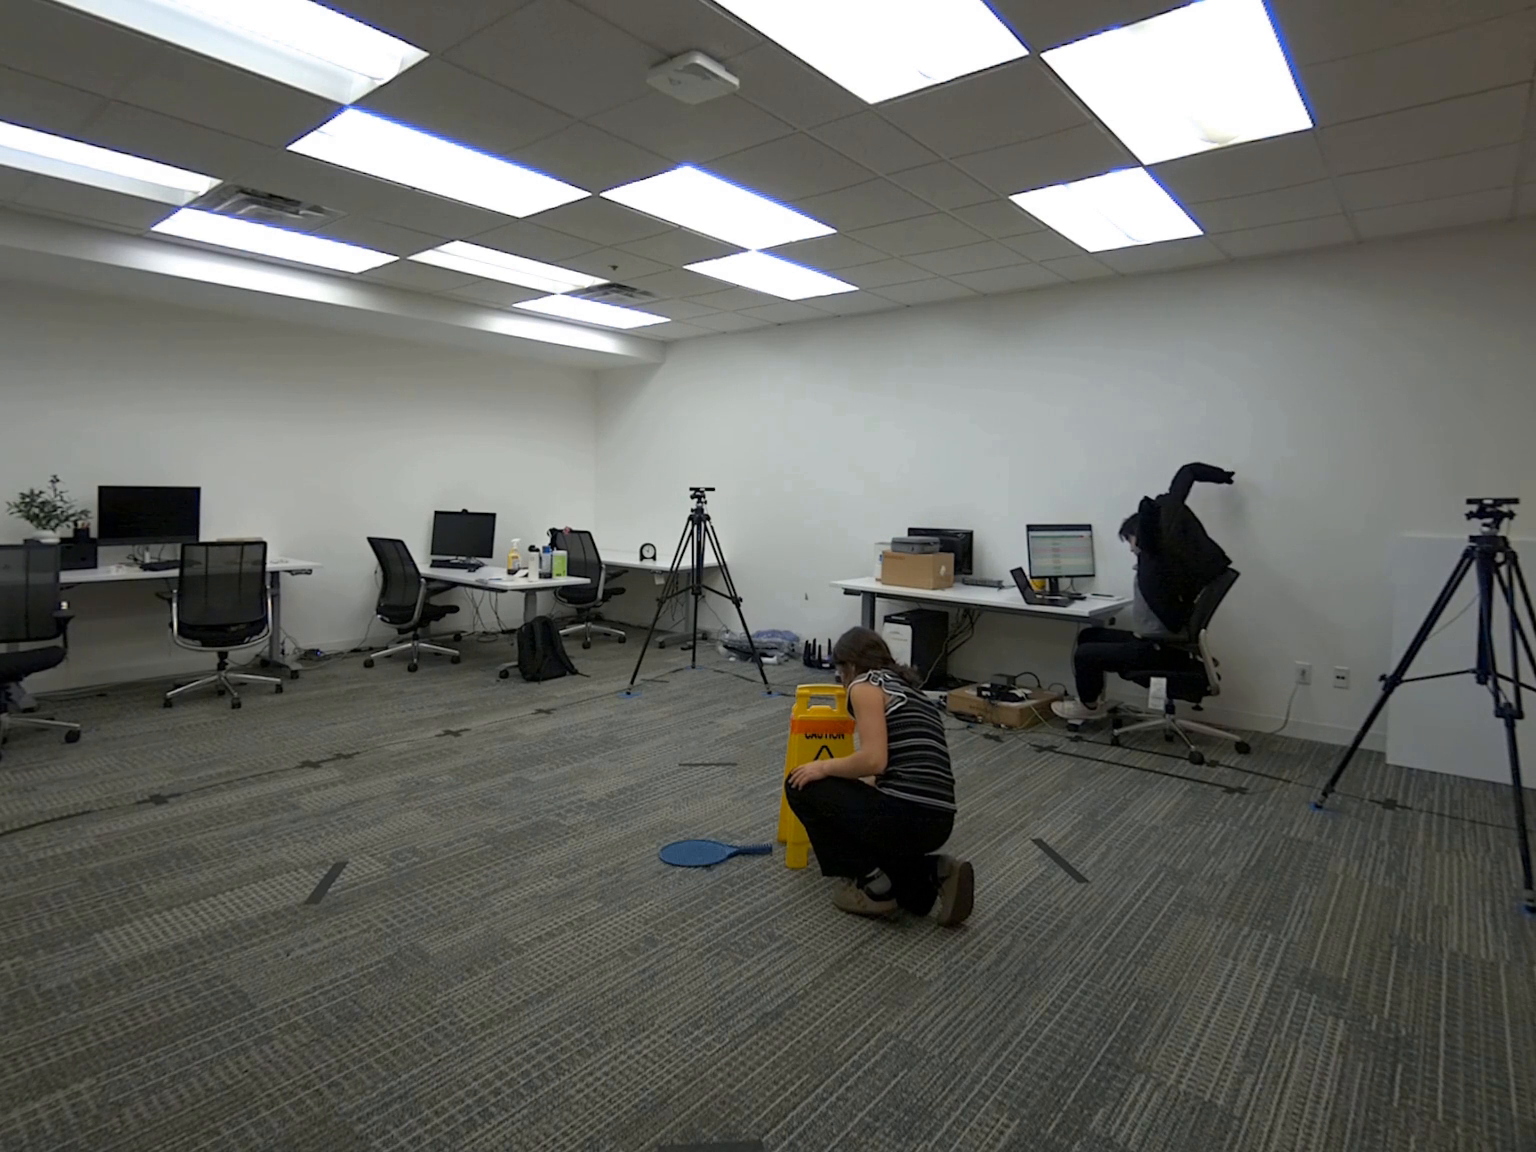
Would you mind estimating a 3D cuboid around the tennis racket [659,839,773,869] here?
[{"bbox_3d":[-0.183,1.028,3.229,0.430,0.032,0.215,-1,4,-6],"label":"tennis racket"}]
